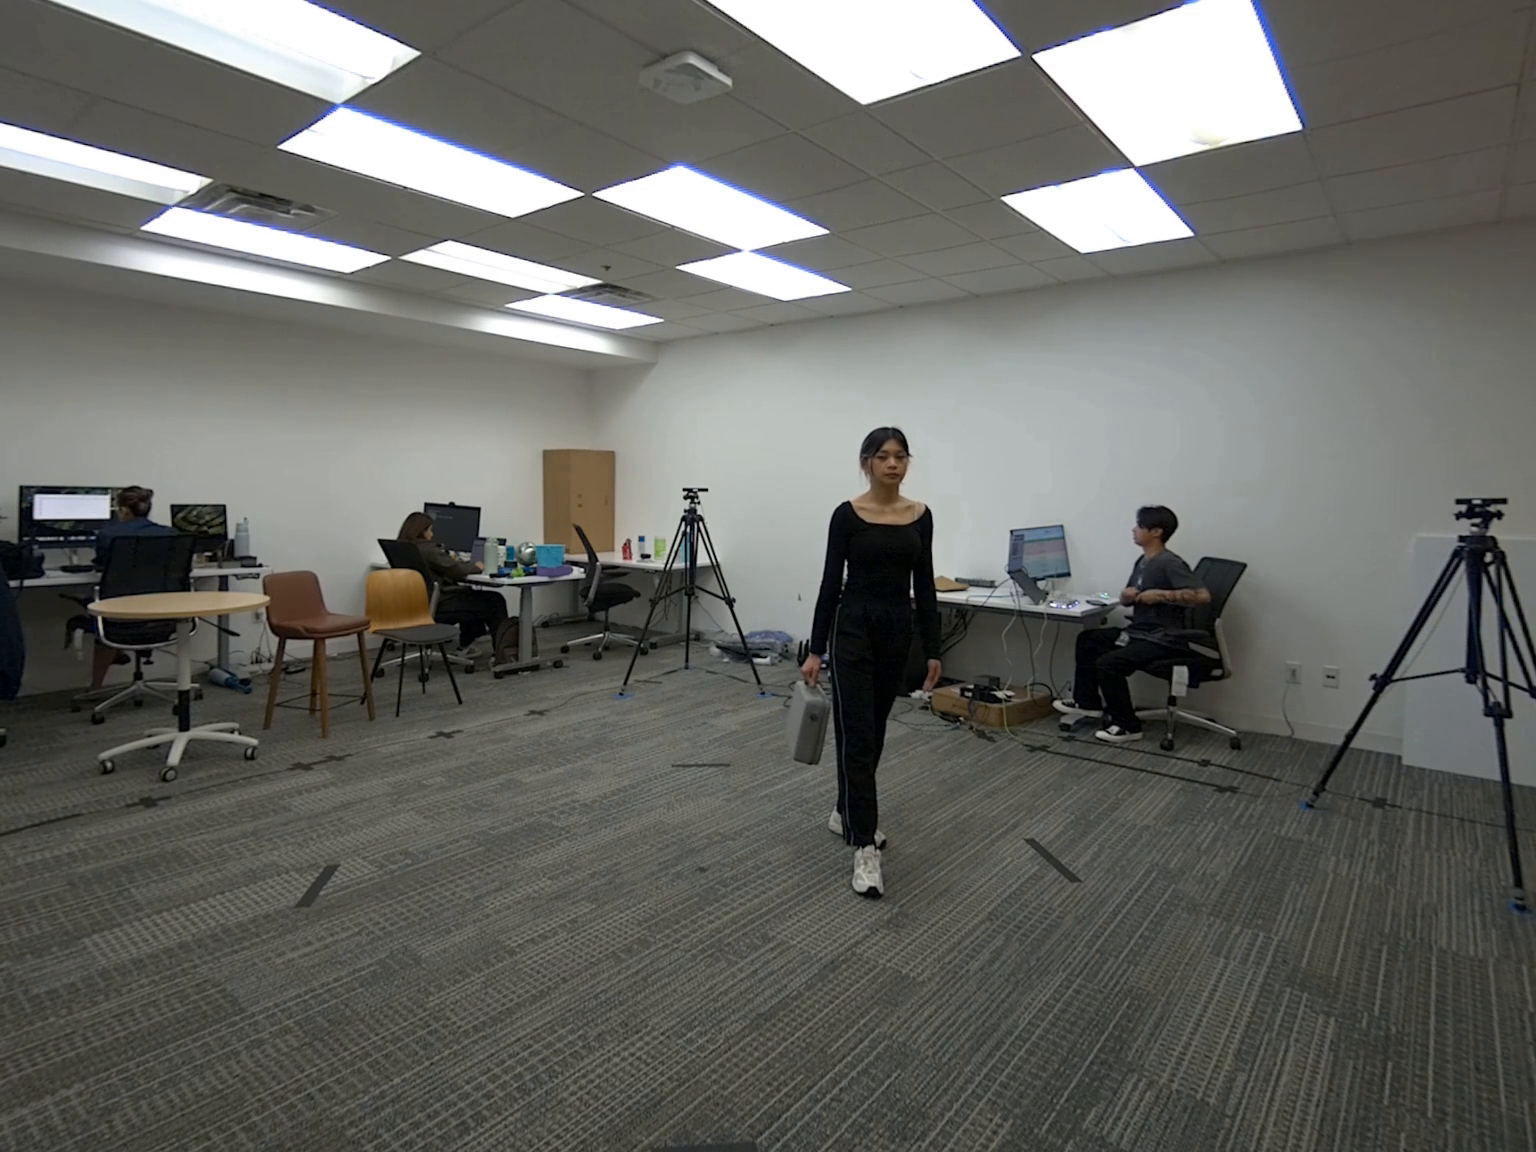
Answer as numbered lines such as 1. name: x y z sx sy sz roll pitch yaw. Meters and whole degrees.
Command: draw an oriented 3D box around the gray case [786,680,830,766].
1. gray case: 0.147 0.541 3.222 0.103 0.259 0.260 7 7 -9
